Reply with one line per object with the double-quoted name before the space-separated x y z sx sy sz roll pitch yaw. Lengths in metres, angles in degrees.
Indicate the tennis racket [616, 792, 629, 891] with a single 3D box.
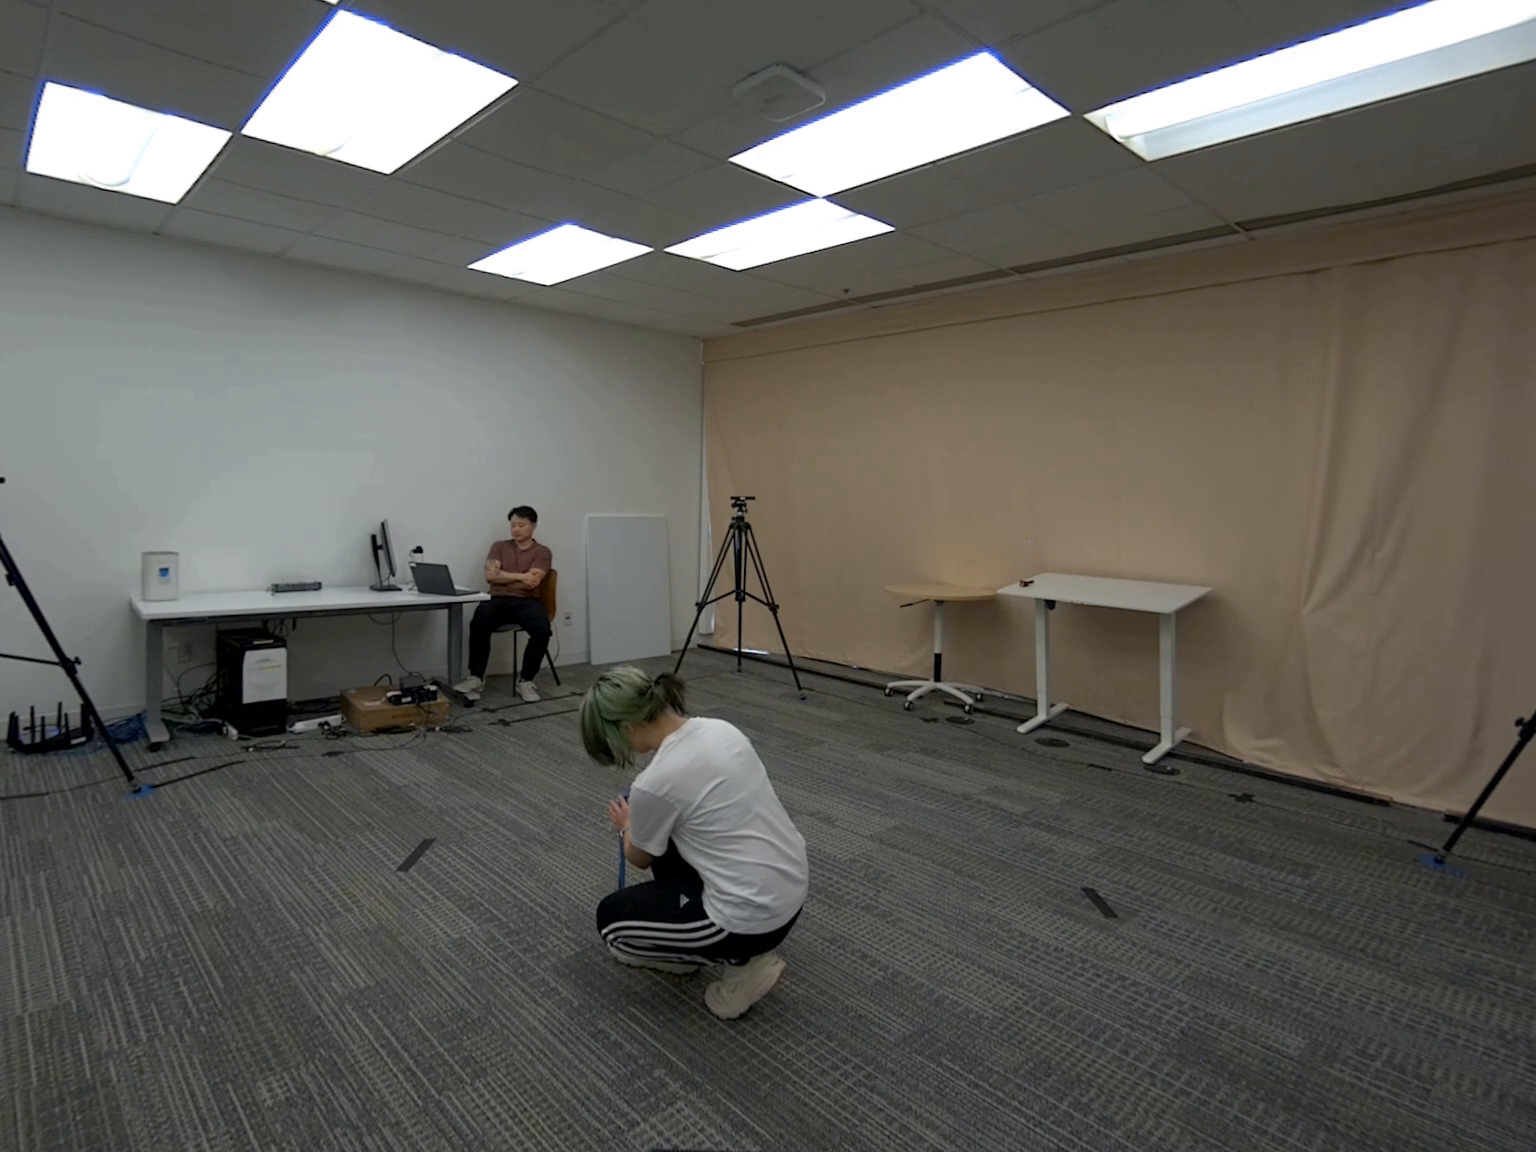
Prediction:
"tennis racket" -0.474 0.923 2.695 0.032 0.431 0.215 2 6 -4
